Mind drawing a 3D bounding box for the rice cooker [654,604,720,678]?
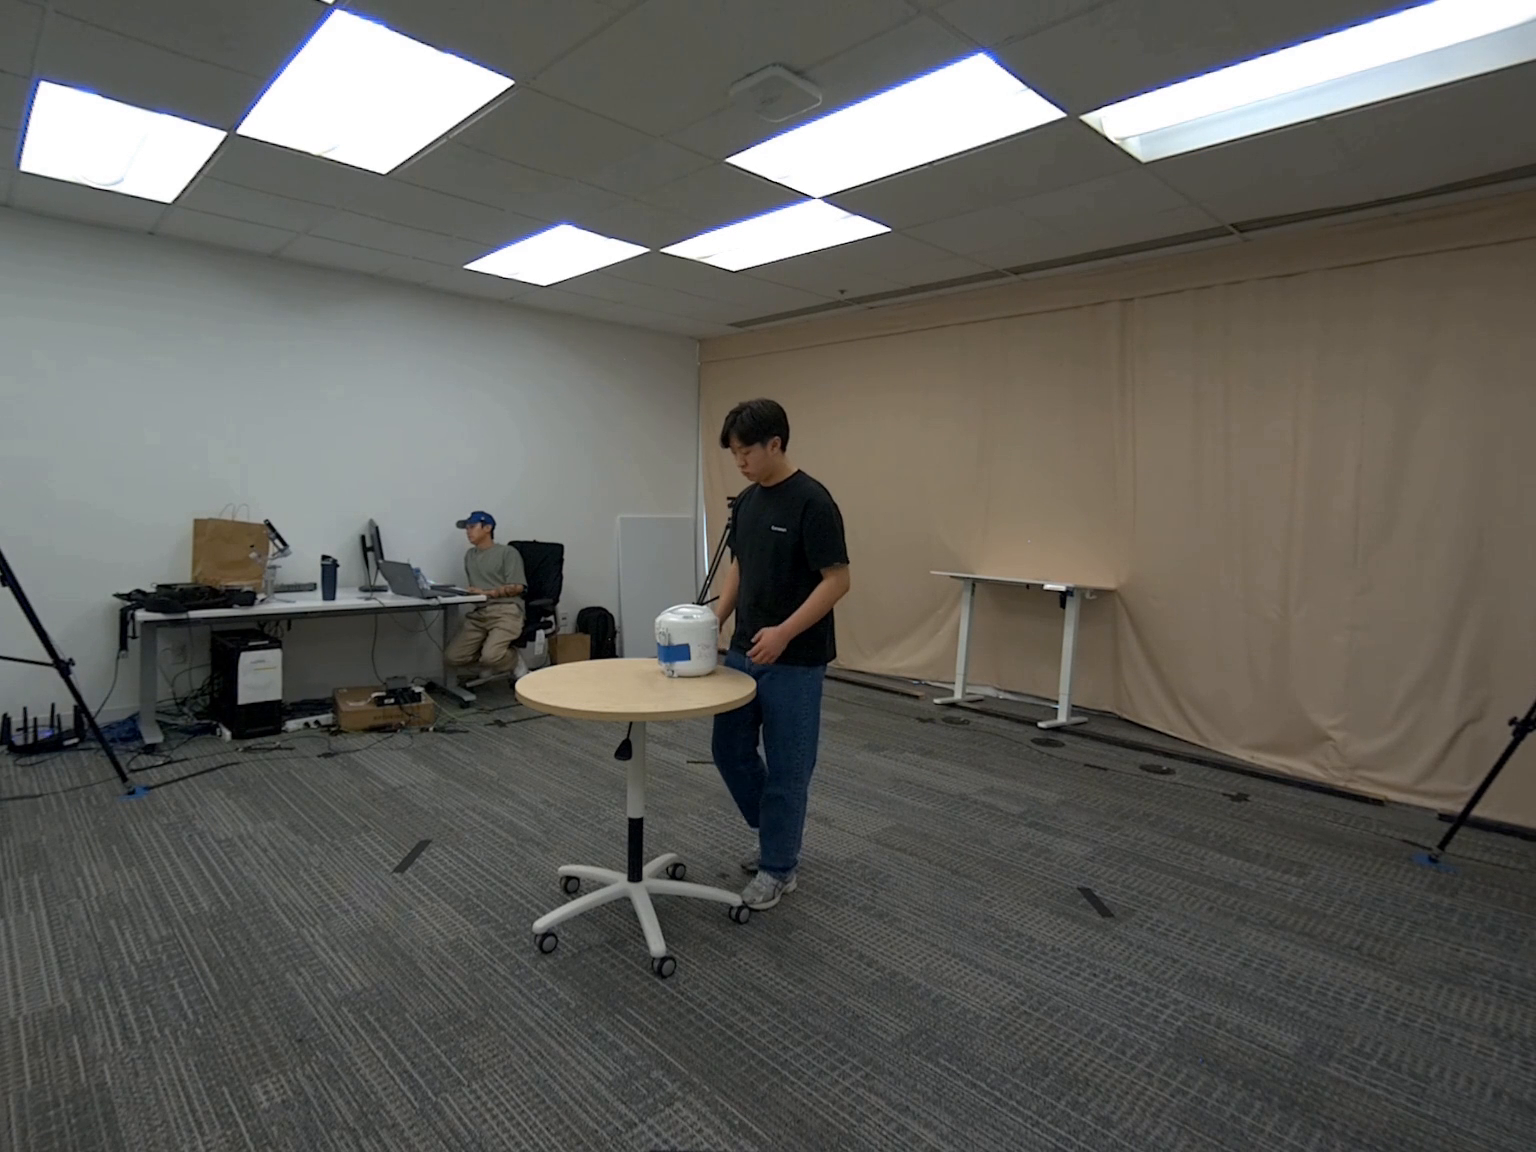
[{"bbox_3d":[-0.277,0.212,2.861,0.219,0.232,0.220,1,4,-11],"label":"rice cooker"}]
